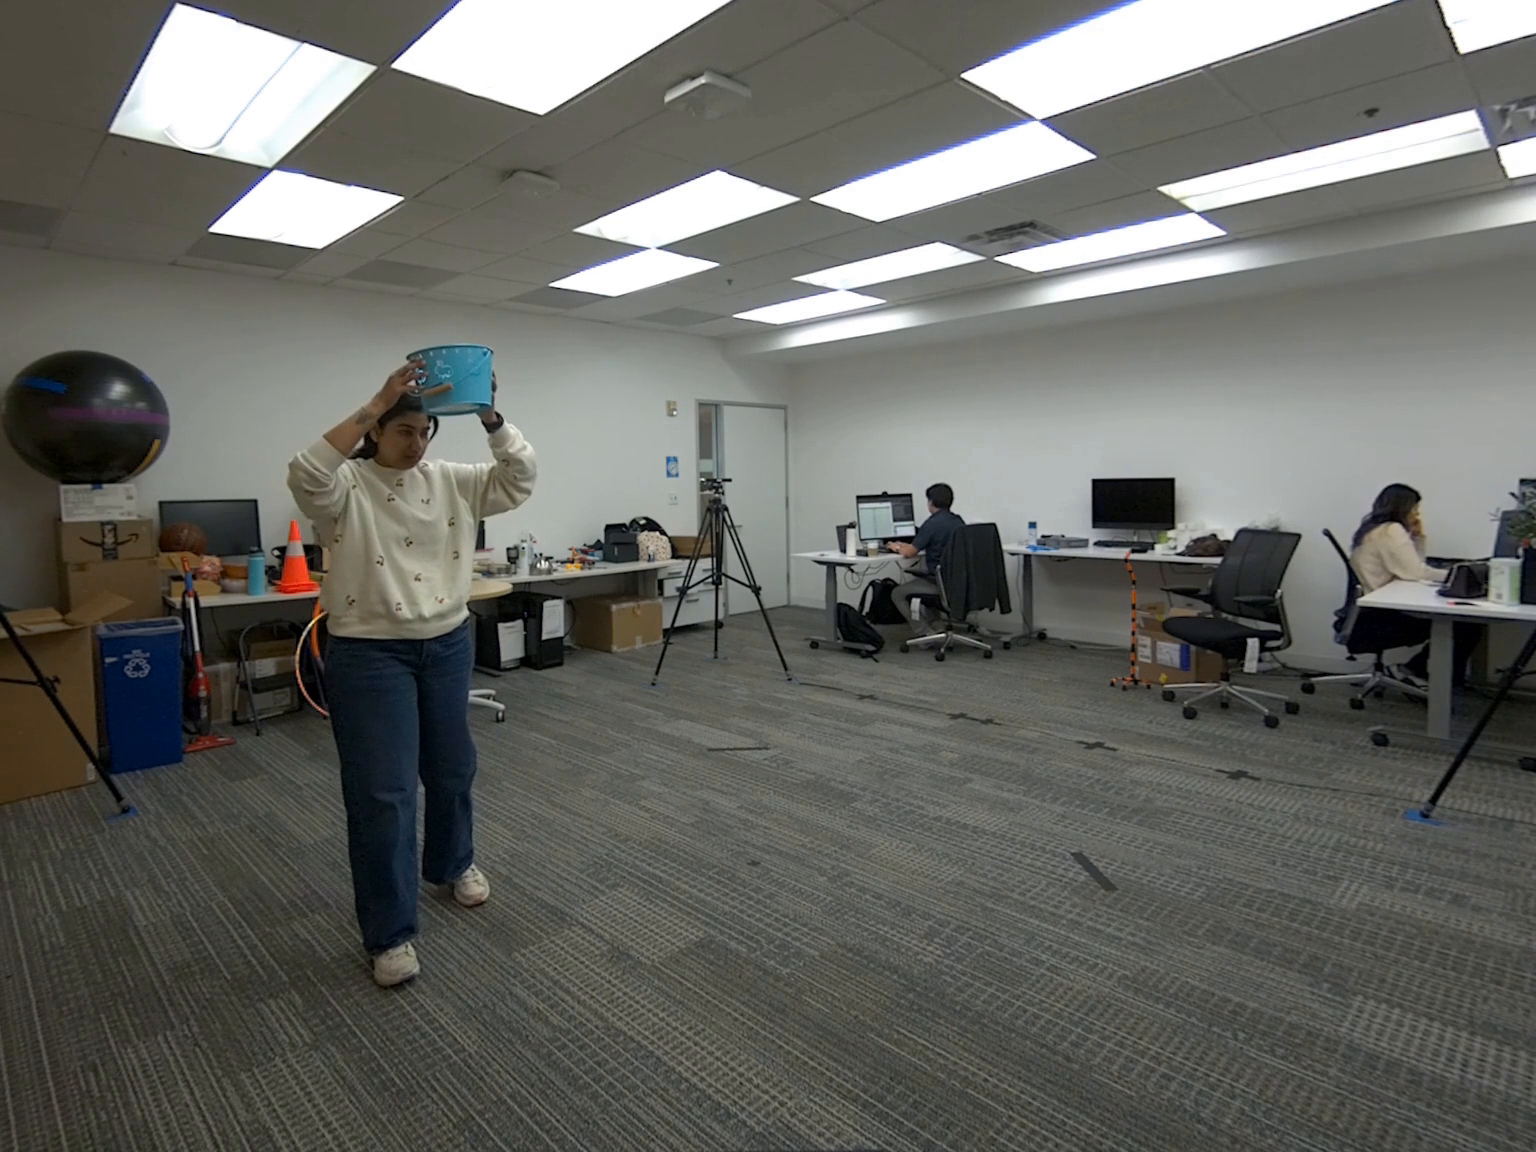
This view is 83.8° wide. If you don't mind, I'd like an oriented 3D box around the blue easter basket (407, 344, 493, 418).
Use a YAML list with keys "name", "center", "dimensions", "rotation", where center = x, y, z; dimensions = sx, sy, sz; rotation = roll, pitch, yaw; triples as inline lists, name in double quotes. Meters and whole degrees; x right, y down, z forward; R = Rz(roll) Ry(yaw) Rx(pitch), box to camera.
- name: "blue easter basket"
  center: [-0.870, -0.532, 2.337]
  dimensions: [0.243, 0.155, 0.244]
  rotation: [-8, 3, -1]
